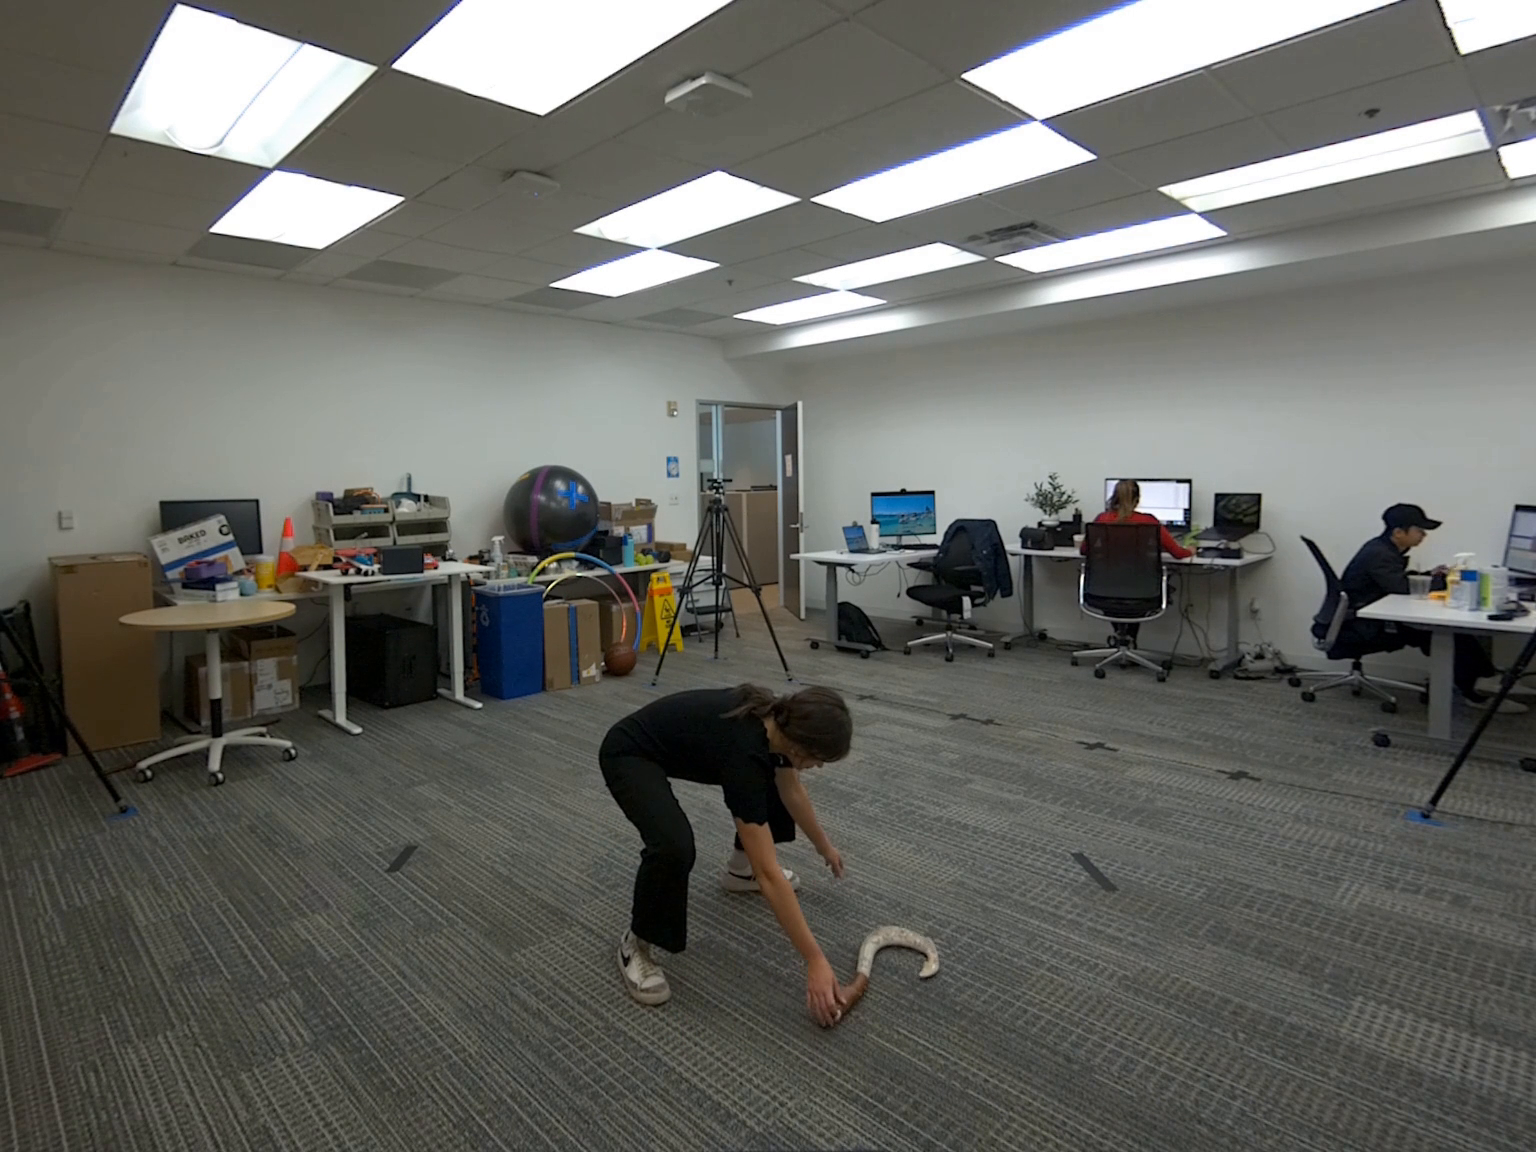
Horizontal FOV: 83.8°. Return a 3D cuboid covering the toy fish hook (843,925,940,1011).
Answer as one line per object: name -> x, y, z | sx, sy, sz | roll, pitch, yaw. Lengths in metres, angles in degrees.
toy fish hook -> 0.324, 1.108, 2.351 | 0.230, 0.048, 0.496 | 1, 8, 29
